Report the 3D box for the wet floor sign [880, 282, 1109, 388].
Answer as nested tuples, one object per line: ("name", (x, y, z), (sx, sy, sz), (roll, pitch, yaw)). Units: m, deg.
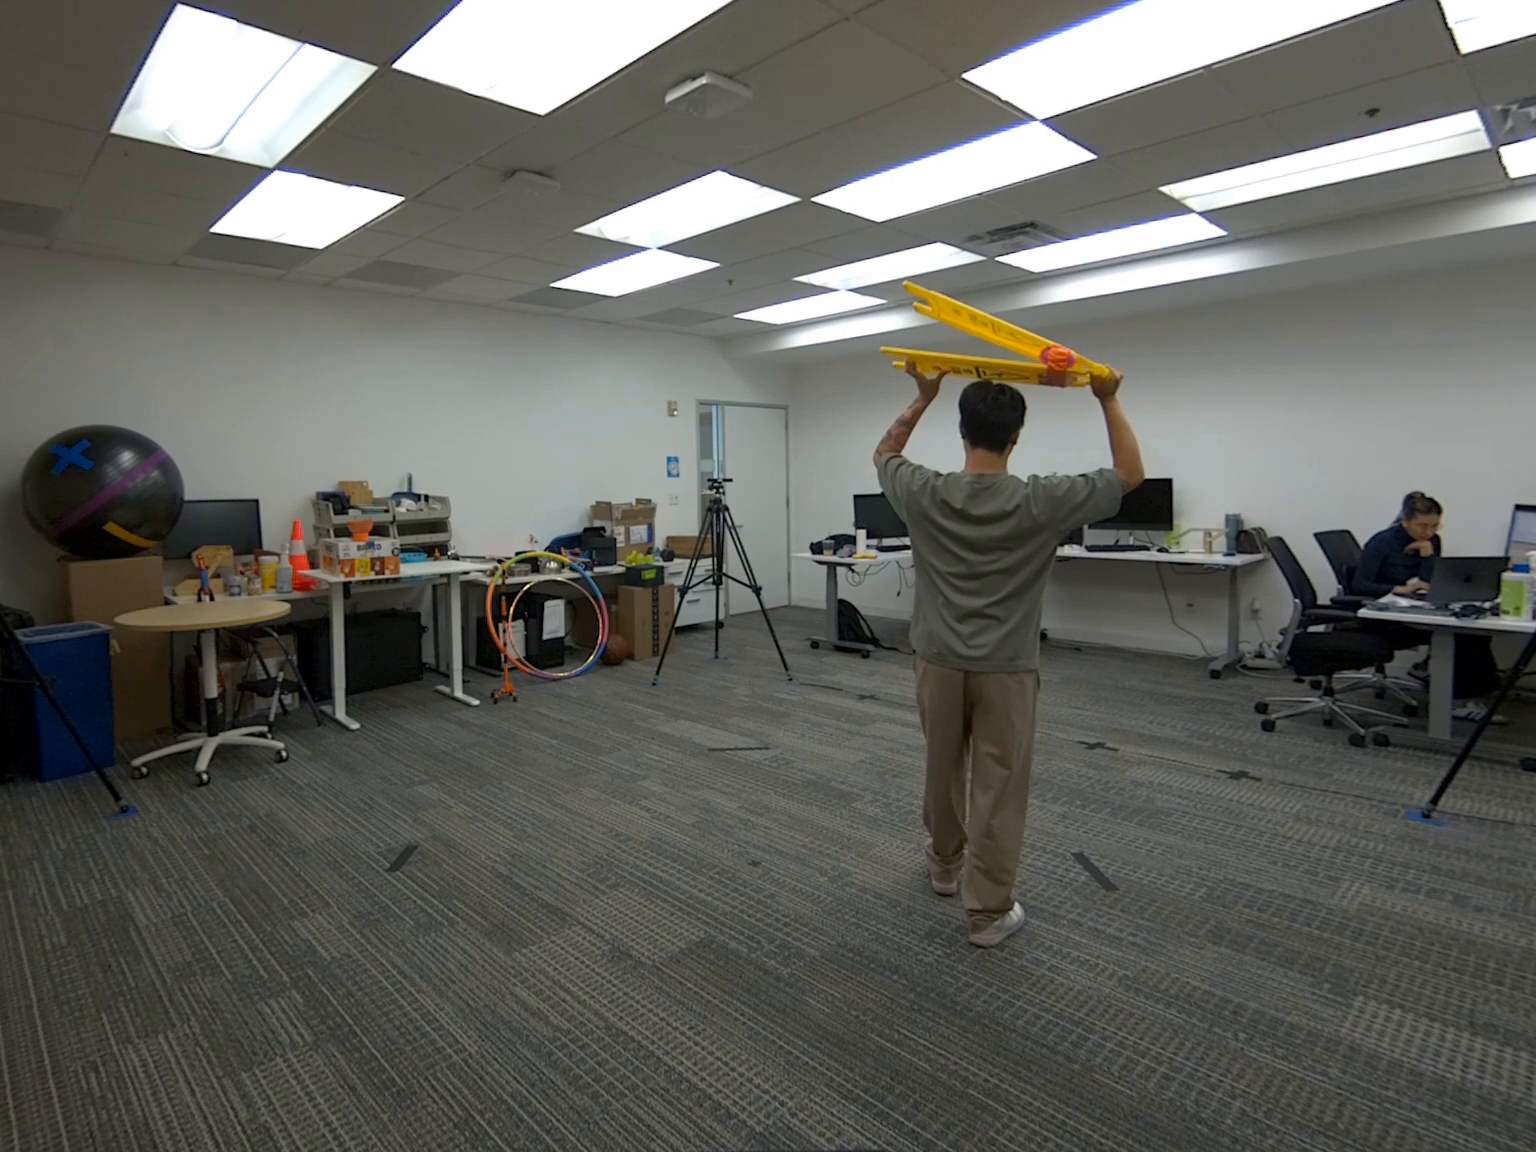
("wet floor sign", (0.715, -0.687, 2.638), (0.662, 0.289, 0.276), (20, 5, 21))
